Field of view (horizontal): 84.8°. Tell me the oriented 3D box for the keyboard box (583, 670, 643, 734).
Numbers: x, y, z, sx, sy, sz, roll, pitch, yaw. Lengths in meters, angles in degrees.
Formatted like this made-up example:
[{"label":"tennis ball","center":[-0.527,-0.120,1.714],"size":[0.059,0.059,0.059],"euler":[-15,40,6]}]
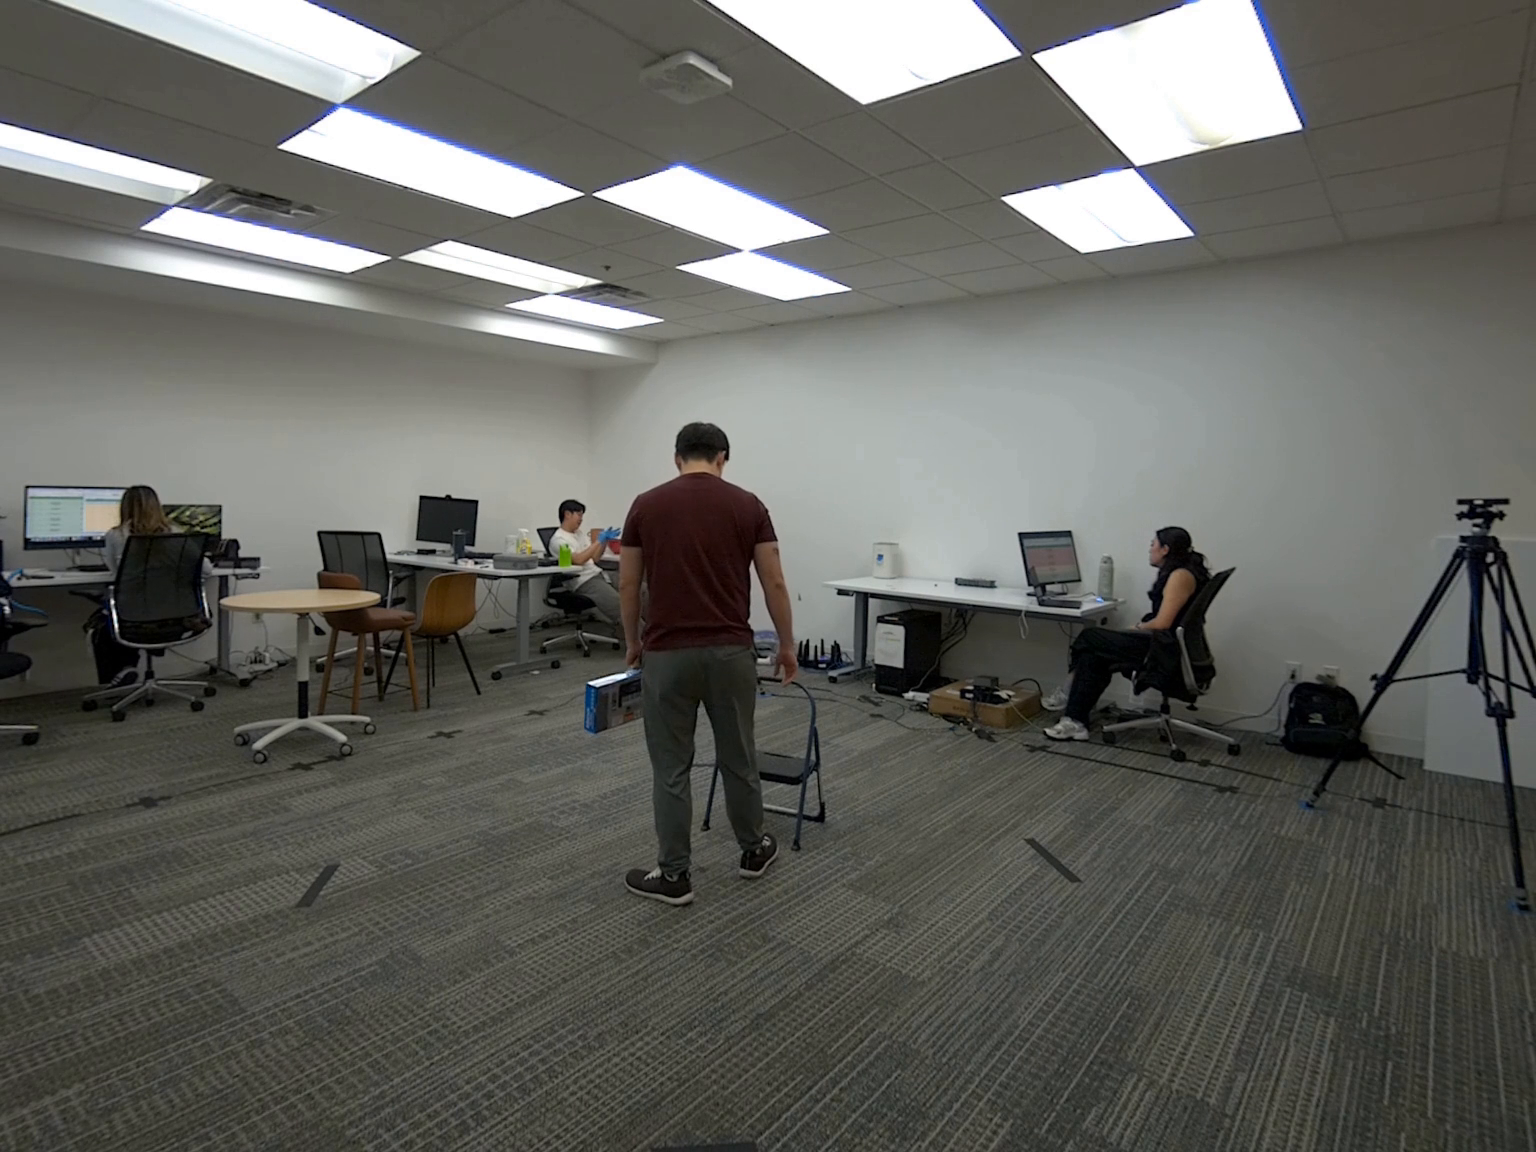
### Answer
[{"label":"keyboard box","center":[-0.482,0.430,3.086],"size":[0.061,0.174,0.425],"euler":[12,14,37]}]
